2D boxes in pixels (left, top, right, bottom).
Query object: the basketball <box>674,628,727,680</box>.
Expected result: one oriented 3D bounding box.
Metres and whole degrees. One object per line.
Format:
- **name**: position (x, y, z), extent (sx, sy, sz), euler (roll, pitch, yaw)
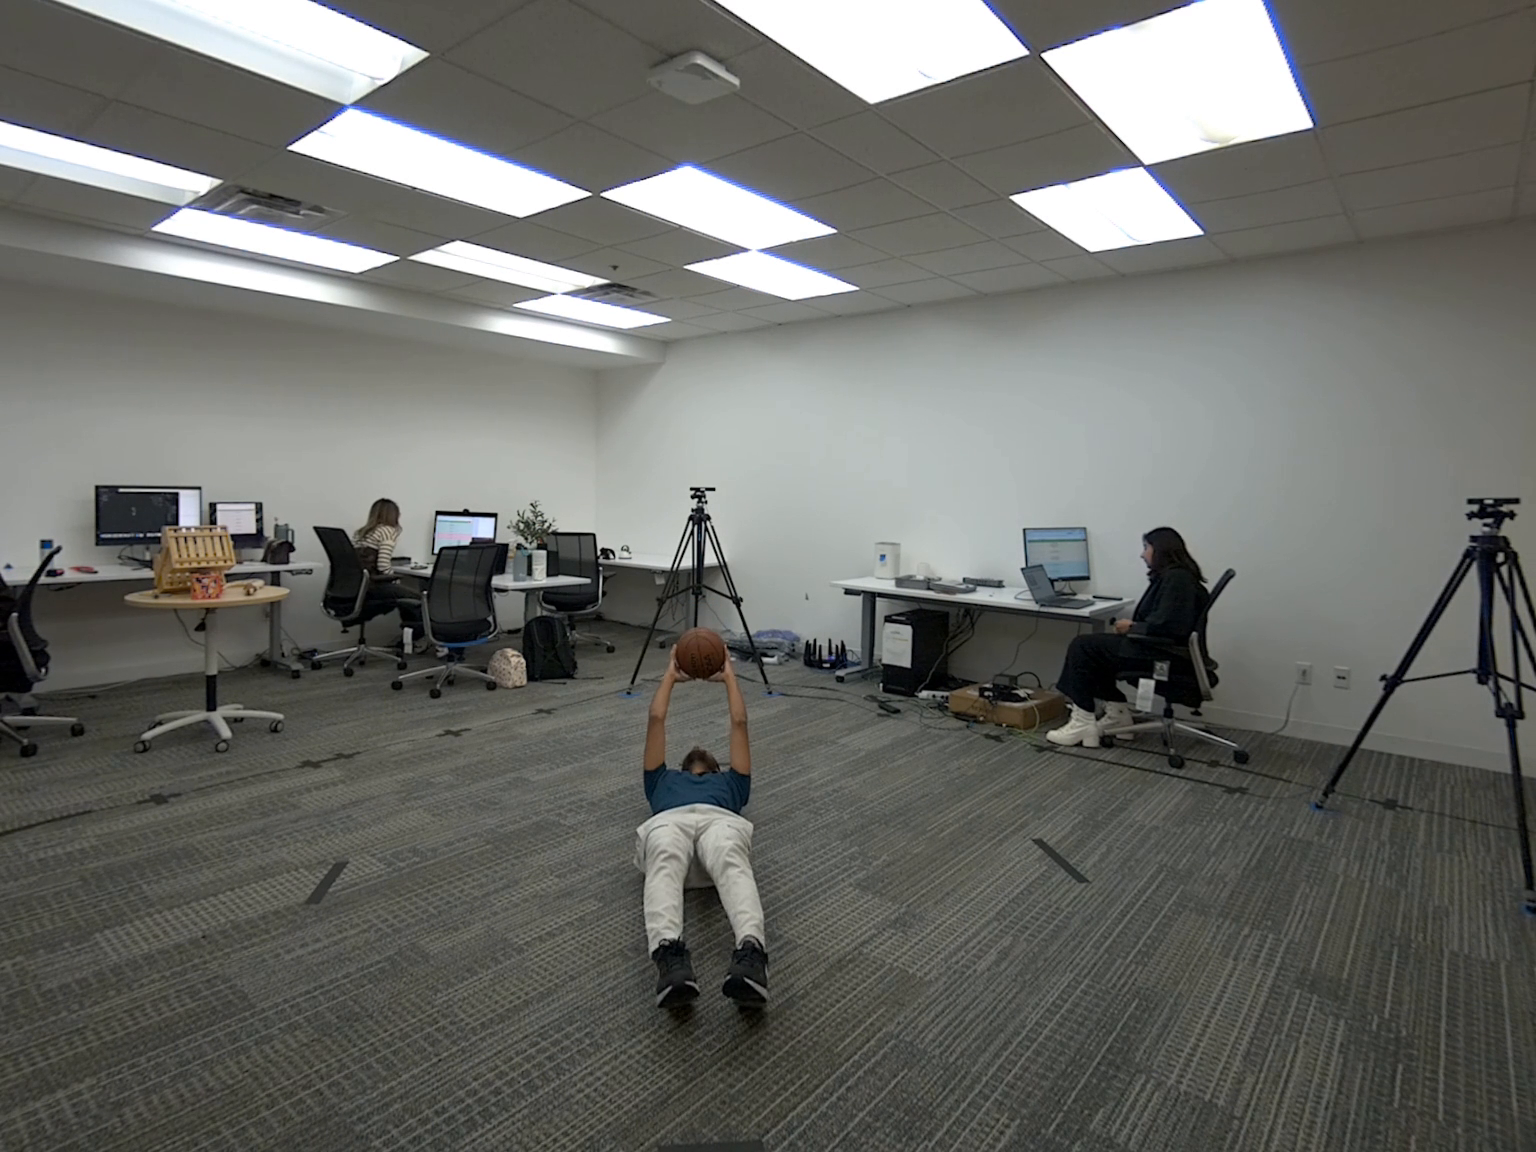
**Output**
- **basketball**: position (-0.330, 0.360, 3.980), extent (0.235, 0.235, 0.237), euler (1, 4, -2)
